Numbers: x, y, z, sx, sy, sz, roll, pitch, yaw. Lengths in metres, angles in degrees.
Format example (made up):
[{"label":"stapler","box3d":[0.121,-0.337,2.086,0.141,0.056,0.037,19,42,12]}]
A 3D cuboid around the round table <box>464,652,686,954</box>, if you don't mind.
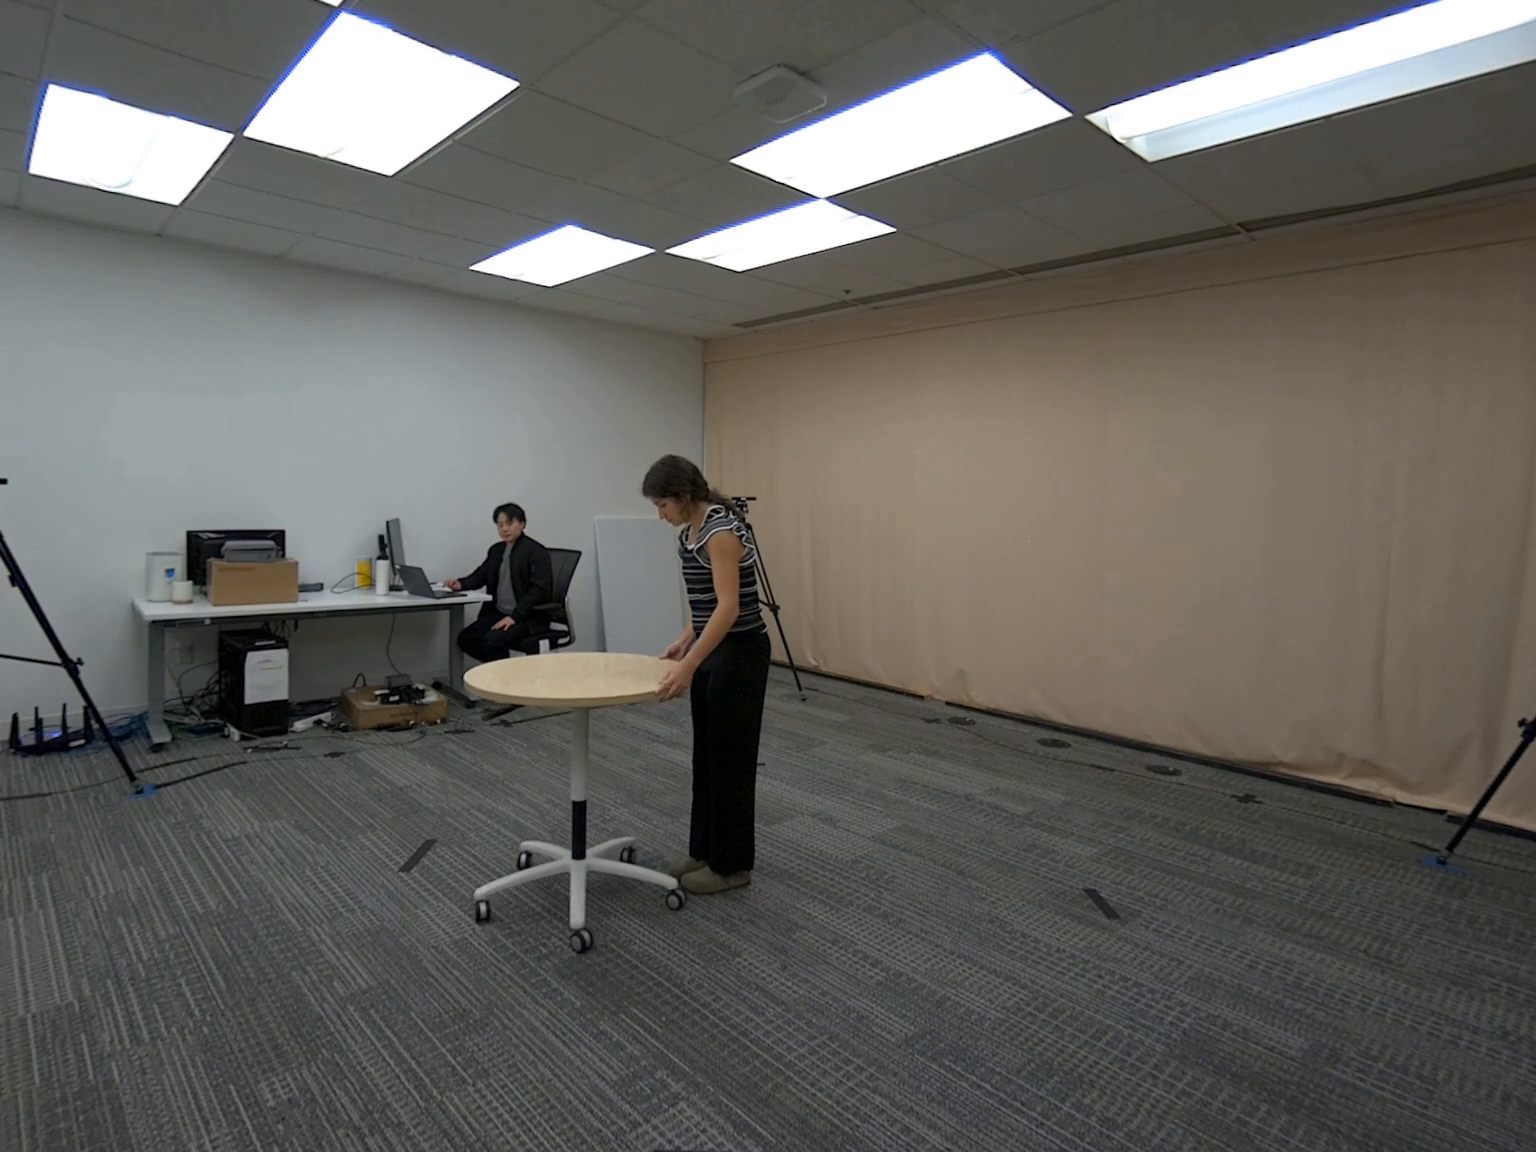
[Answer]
[{"label":"round table","box3d":[-0.640,0.721,2.895,0.784,0.784,0.788,1,4,-1]}]
